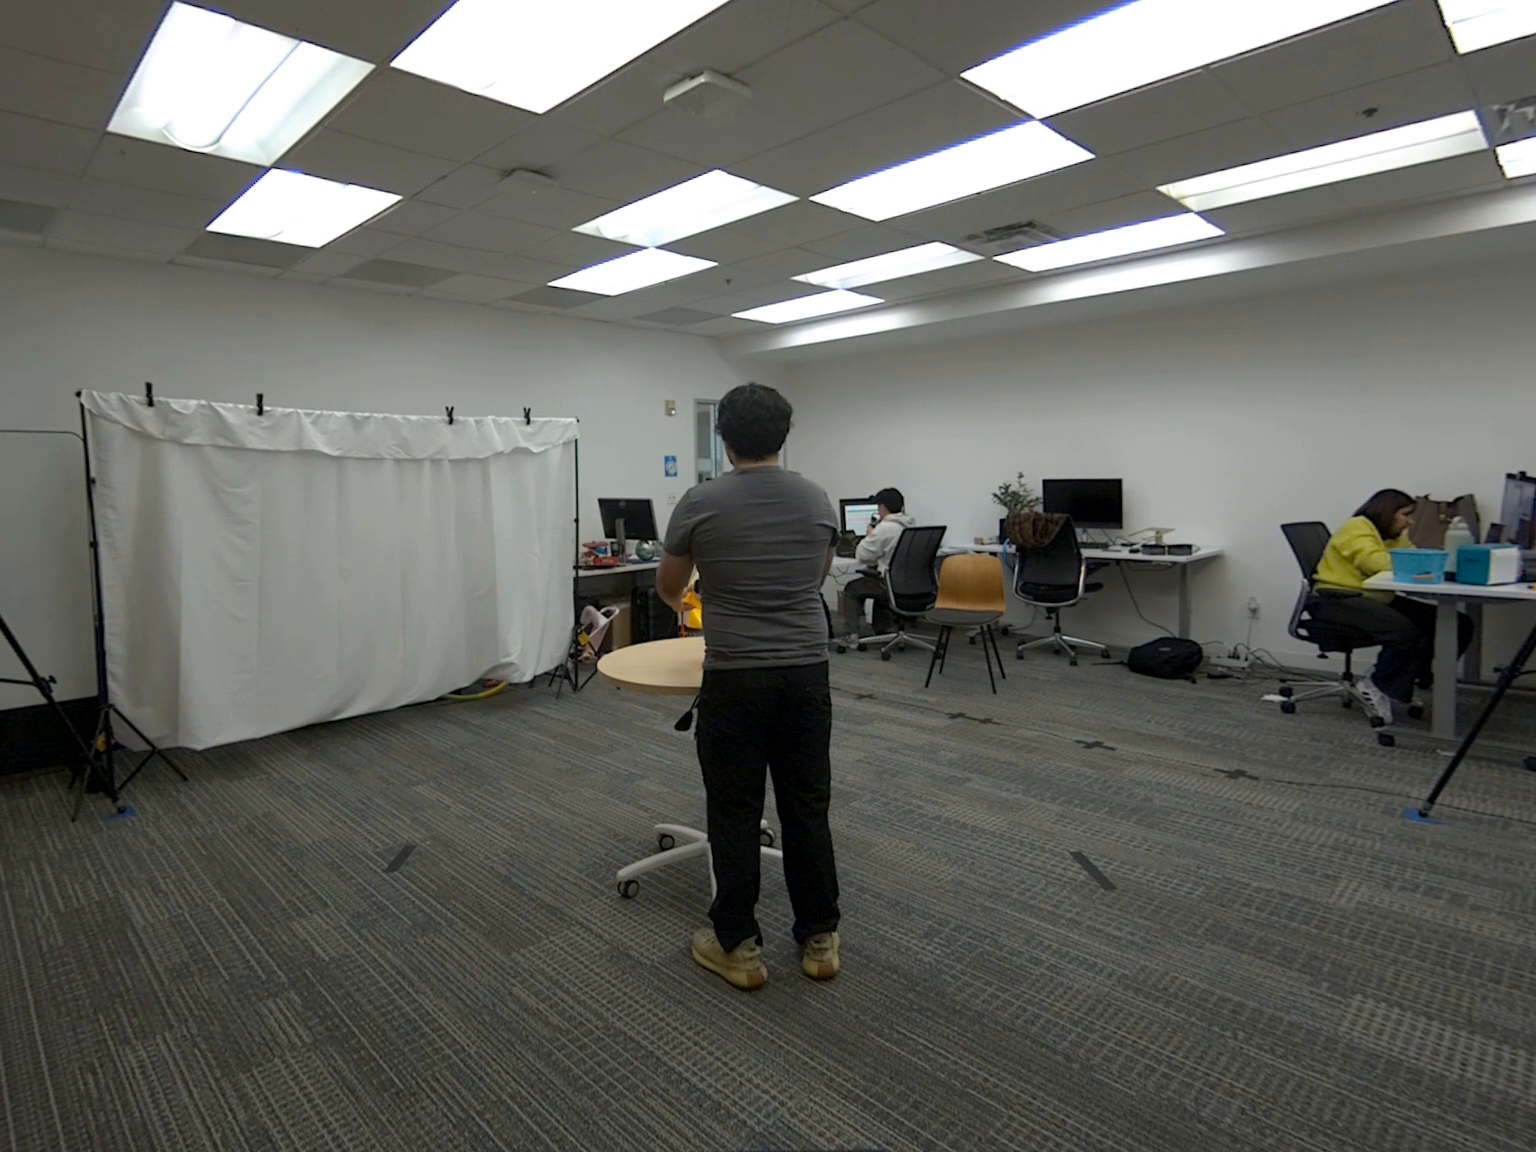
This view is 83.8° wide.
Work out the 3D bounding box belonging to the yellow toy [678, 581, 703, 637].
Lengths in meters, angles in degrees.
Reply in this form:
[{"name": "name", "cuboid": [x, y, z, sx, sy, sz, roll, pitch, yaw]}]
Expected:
[{"name": "yellow toy", "cuboid": [-0.160, 0.047, 2.804, 0.202, 0.231, 0.196, -1, 1, -17]}]
